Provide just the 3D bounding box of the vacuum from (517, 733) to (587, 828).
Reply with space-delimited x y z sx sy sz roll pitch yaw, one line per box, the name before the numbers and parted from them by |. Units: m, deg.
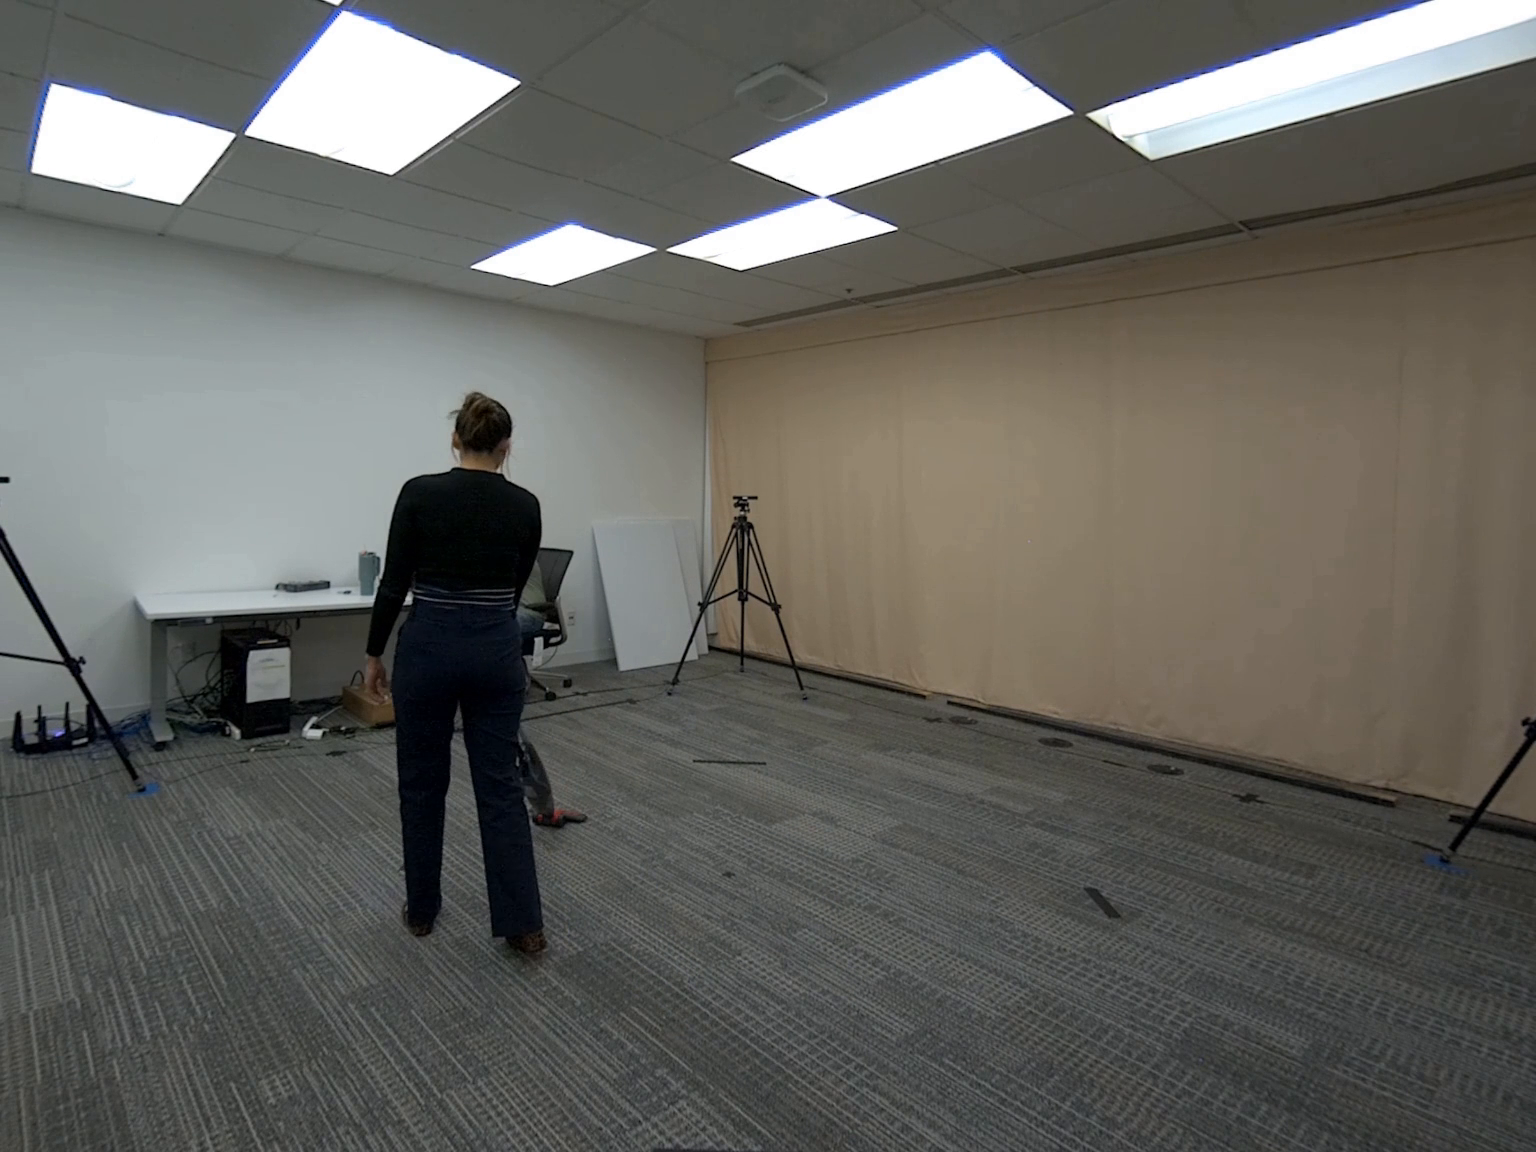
vacuum | -0.946 0.676 3.216 0.255 1.024 0.146 8 46 12
